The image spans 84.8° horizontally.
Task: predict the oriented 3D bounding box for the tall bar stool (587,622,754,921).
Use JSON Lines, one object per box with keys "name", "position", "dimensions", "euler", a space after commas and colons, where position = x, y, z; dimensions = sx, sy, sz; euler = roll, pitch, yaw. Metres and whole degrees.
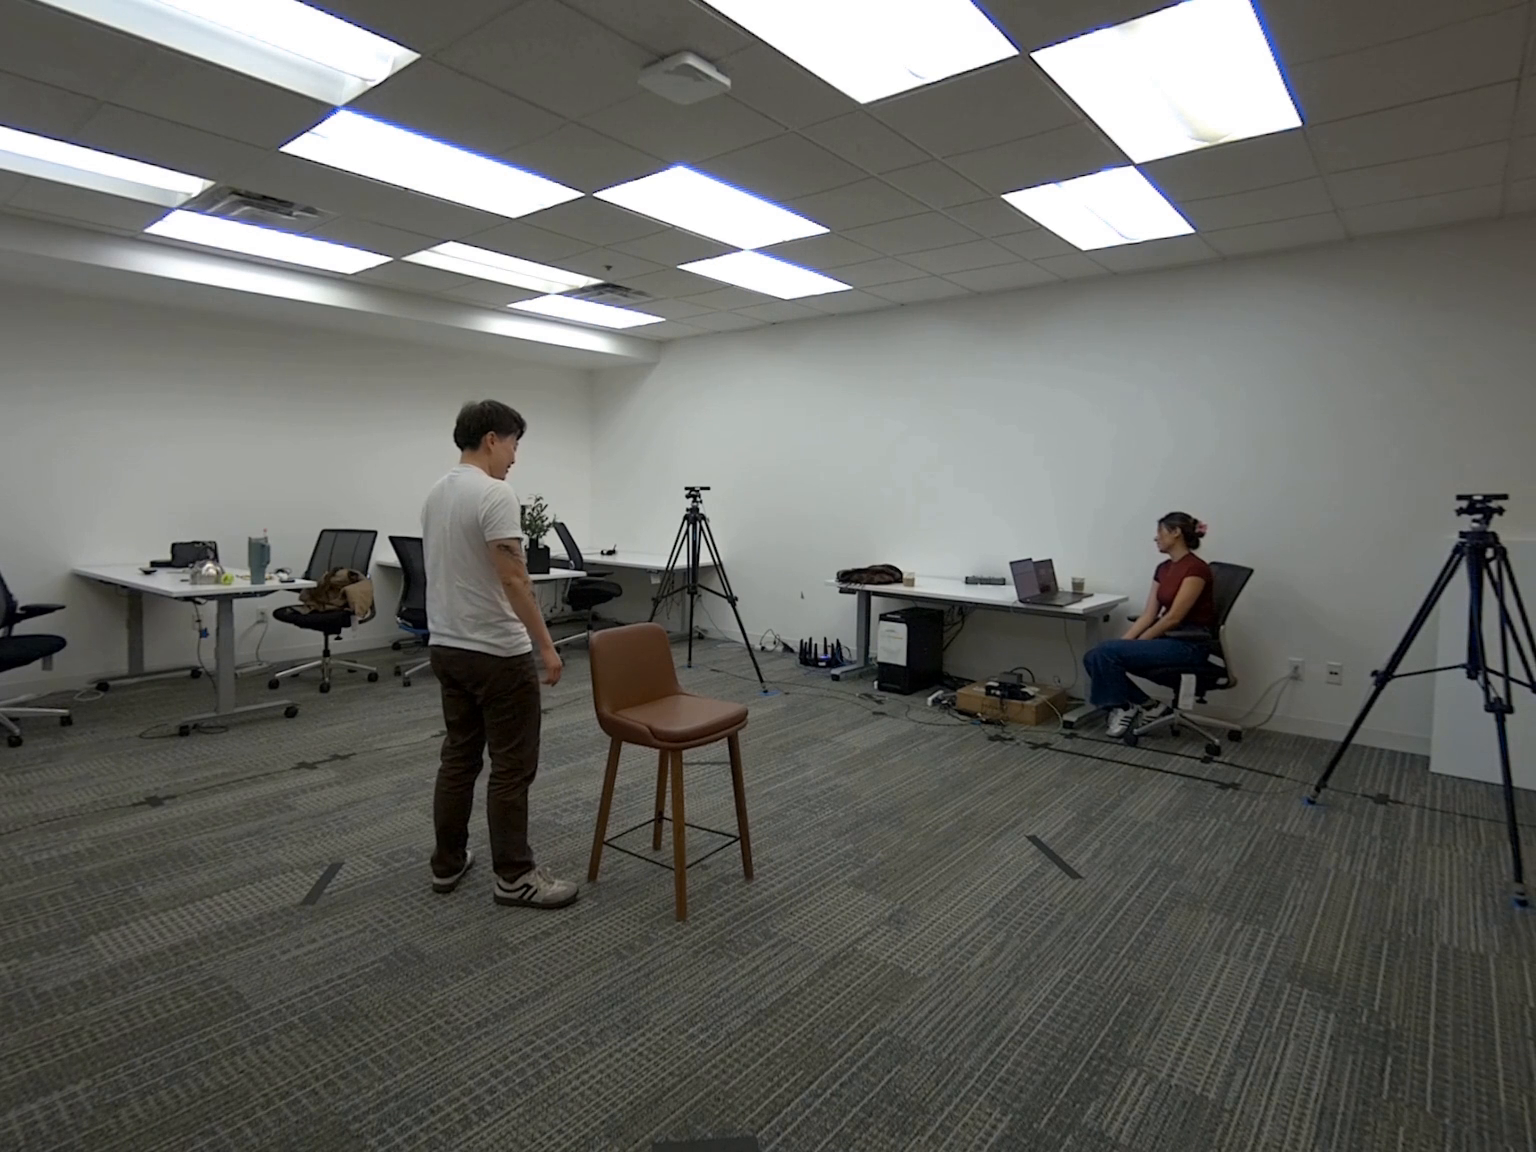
{"name": "tall bar stool", "position": [-0.360, 0.640, 2.991], "dimensions": [0.482, 0.889, 0.443], "euler": [0, 2, 36]}
